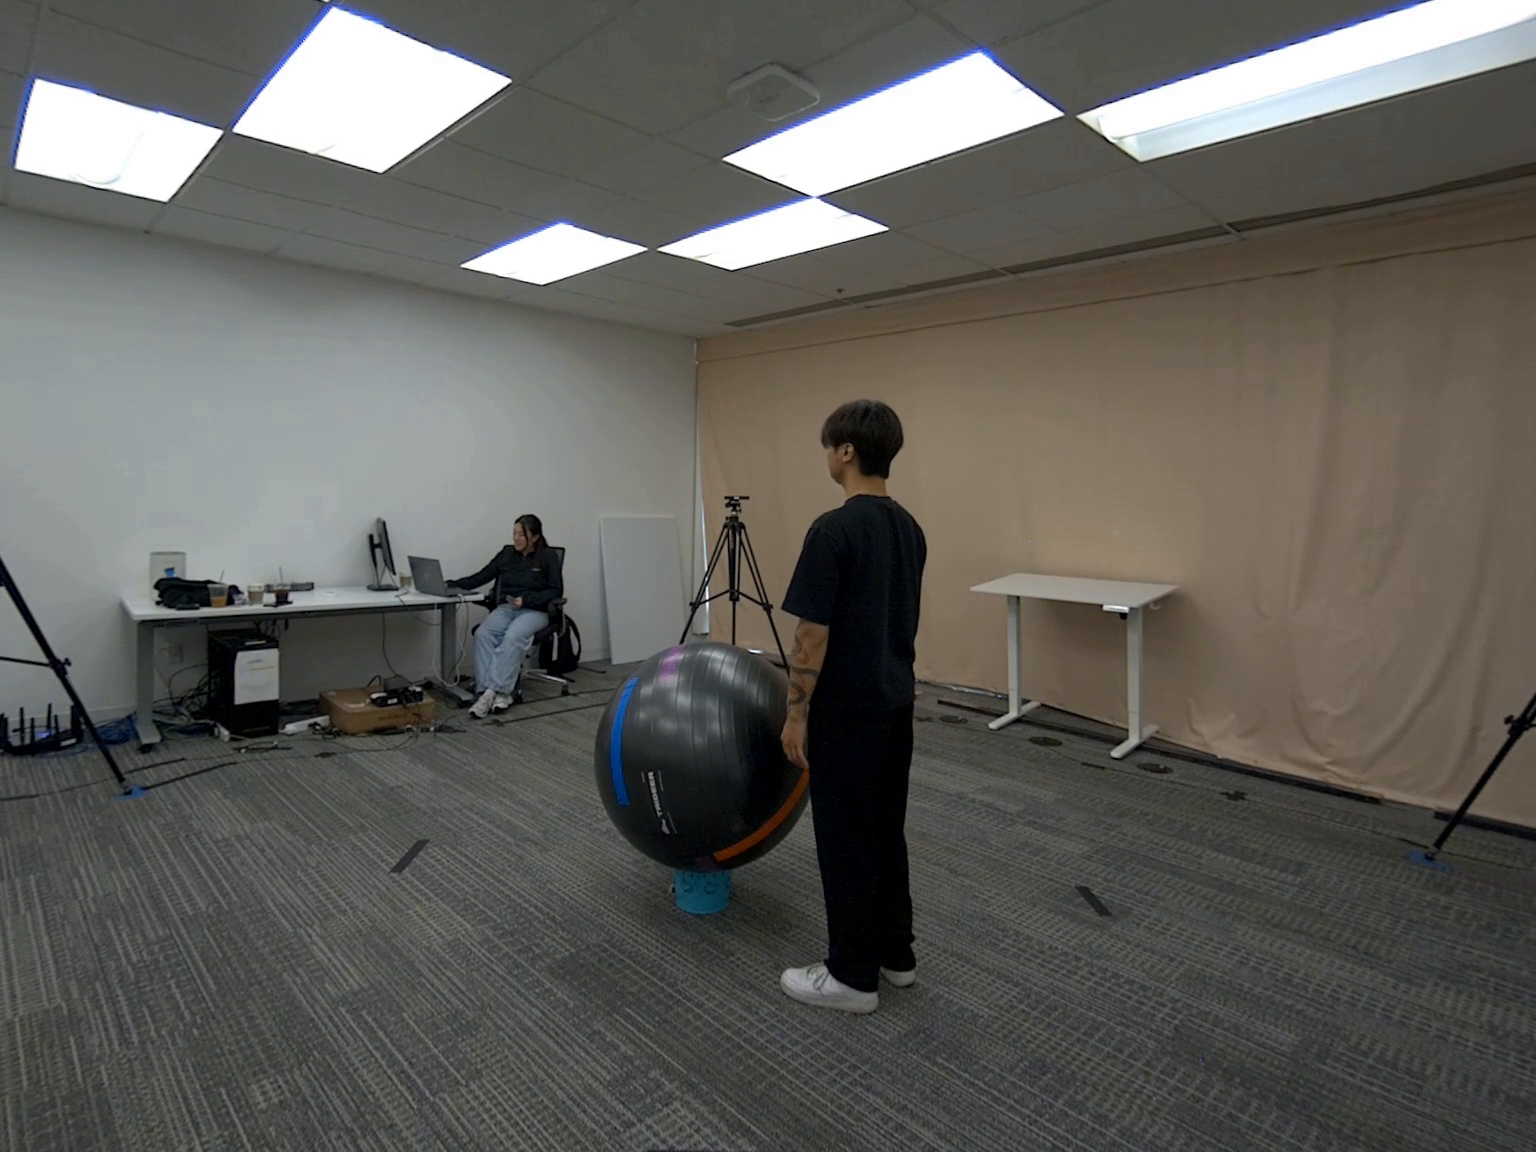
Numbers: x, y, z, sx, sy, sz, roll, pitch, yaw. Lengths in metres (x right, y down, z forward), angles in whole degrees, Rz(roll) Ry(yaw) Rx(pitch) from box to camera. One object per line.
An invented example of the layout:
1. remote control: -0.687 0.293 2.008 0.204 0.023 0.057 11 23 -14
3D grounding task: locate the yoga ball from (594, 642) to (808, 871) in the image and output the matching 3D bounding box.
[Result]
1. yoga ball: -0.215 0.610 2.882 0.757 0.756 0.761 1 4 -1
